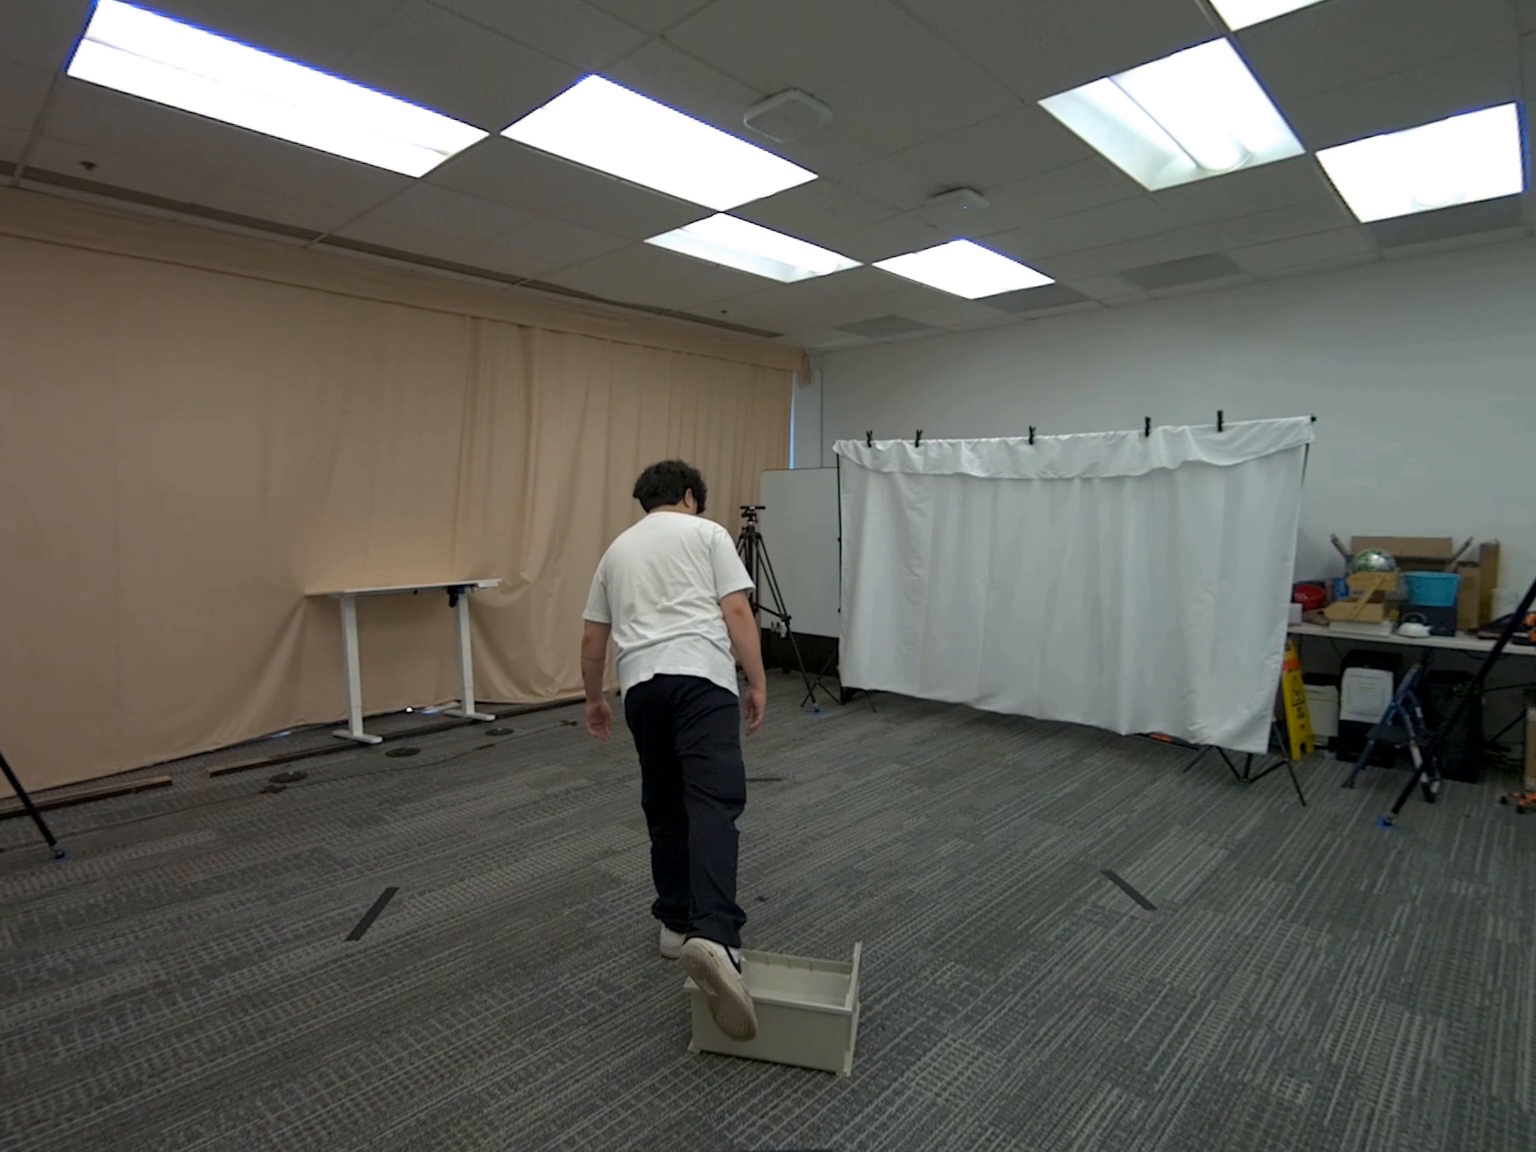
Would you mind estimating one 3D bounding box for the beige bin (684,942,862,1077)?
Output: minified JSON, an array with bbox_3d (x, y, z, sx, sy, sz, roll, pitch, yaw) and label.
[{"bbox_3d":[0.034,1.117,2.260,0.428,0.188,0.373,2,6,12],"label":"beige bin"}]
